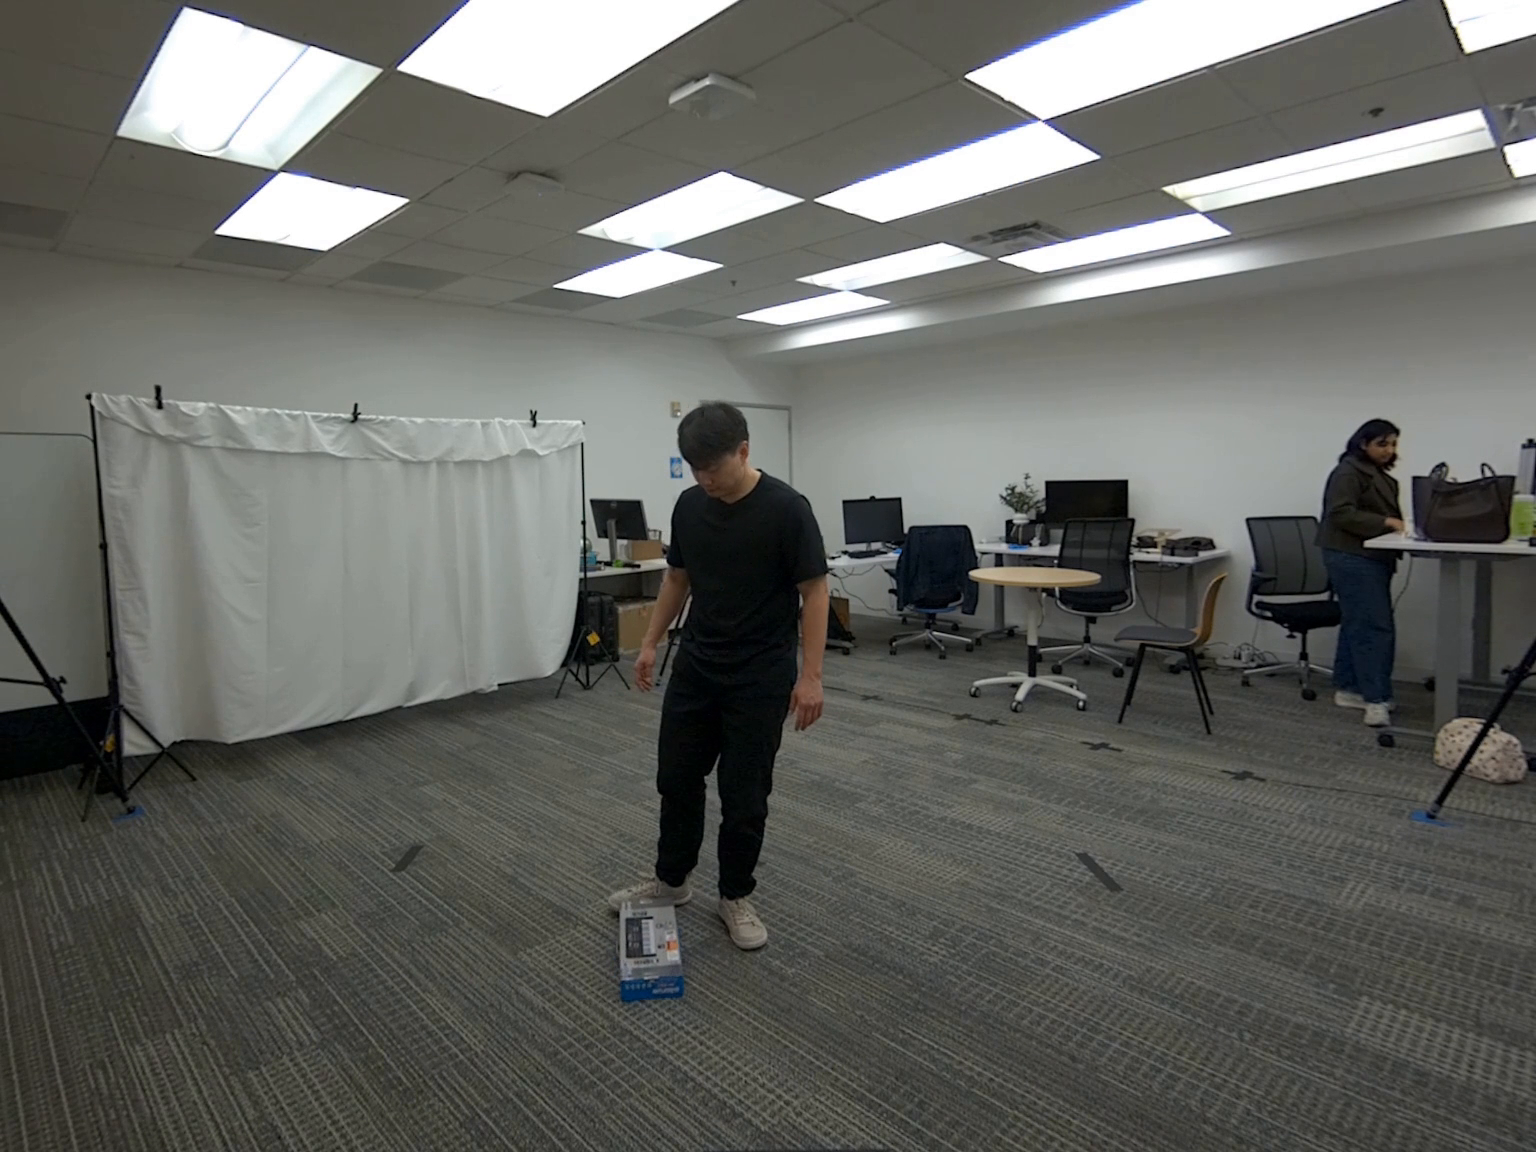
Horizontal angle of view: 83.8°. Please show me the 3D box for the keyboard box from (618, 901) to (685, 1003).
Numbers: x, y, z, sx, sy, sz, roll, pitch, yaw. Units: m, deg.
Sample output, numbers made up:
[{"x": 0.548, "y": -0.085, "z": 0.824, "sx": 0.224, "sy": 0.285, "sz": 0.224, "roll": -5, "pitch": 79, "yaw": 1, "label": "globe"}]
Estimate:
[{"x": -0.345, "y": 1.095, "z": 2.526, "sx": 0.174, "sy": 0.059, "sz": 0.442, "roll": -2, "pitch": 7, "yaw": -9, "label": "keyboard box"}]
